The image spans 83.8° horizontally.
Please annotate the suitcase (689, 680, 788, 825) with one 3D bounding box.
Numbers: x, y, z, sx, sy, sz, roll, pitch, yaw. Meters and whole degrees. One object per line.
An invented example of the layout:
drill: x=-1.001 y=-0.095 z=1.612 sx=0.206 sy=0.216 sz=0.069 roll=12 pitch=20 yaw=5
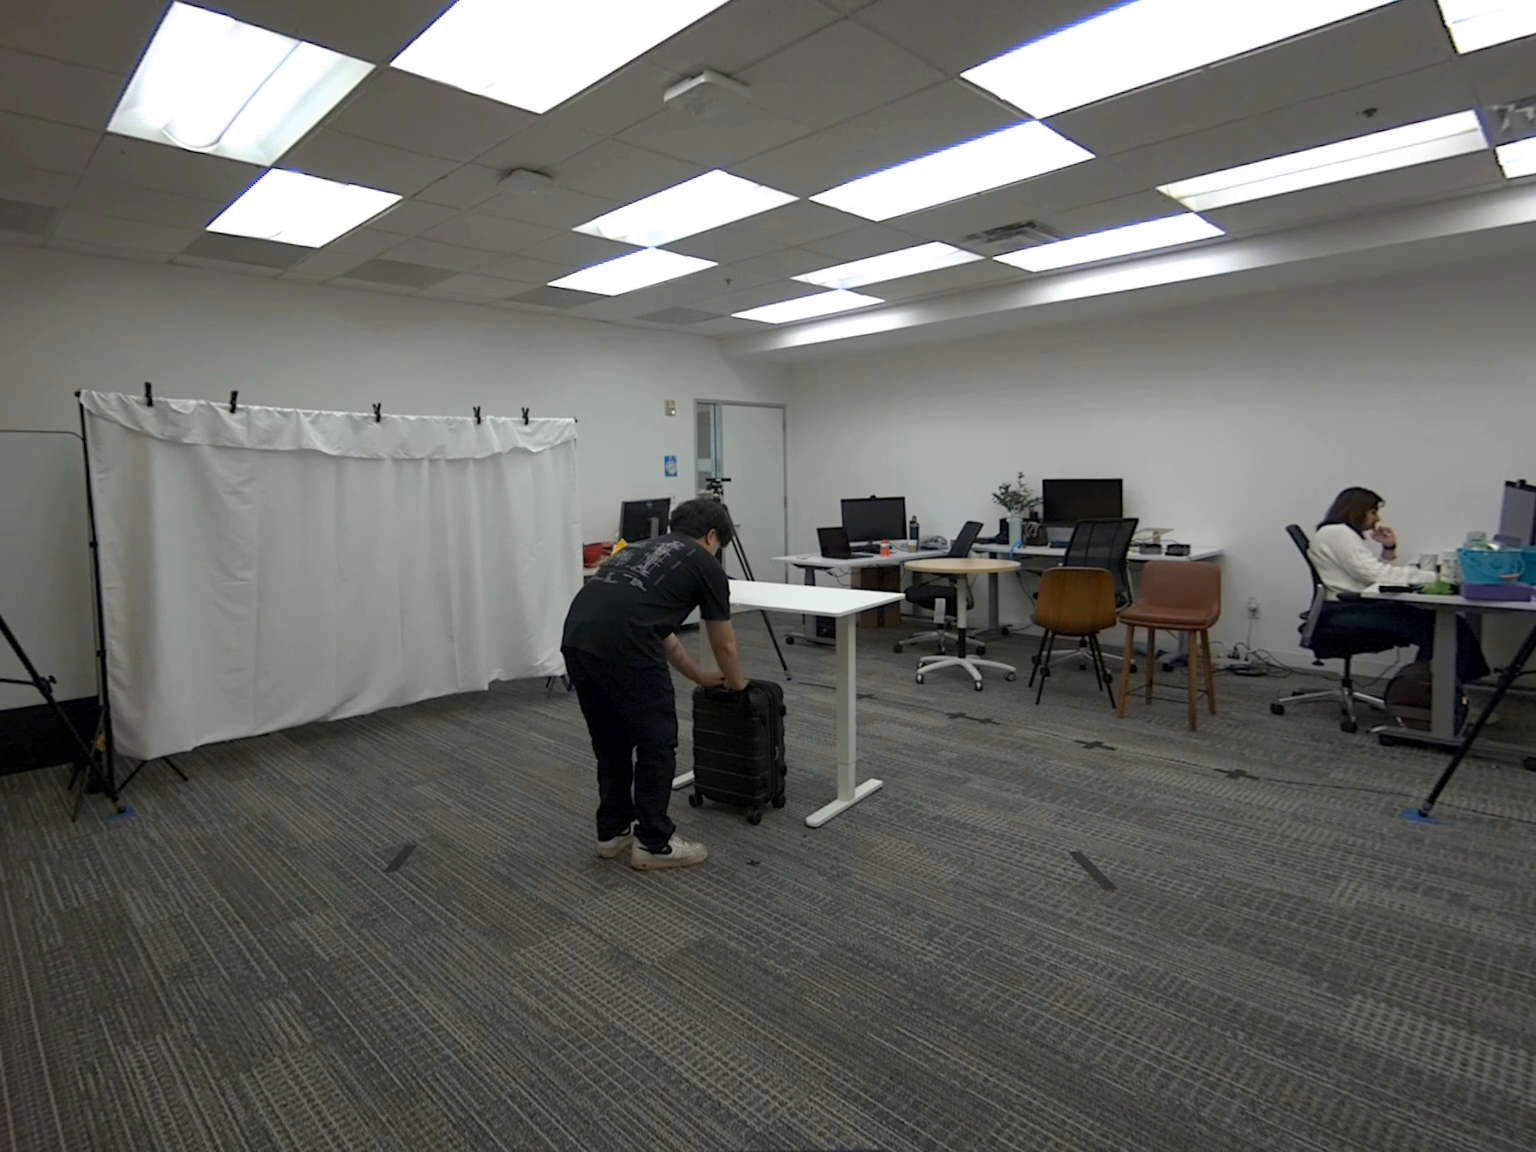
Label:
suitcase: x=-0.119 y=0.717 z=3.625 sx=0.385 sy=0.548 sz=0.242 roll=2 pitch=4 yaw=32
